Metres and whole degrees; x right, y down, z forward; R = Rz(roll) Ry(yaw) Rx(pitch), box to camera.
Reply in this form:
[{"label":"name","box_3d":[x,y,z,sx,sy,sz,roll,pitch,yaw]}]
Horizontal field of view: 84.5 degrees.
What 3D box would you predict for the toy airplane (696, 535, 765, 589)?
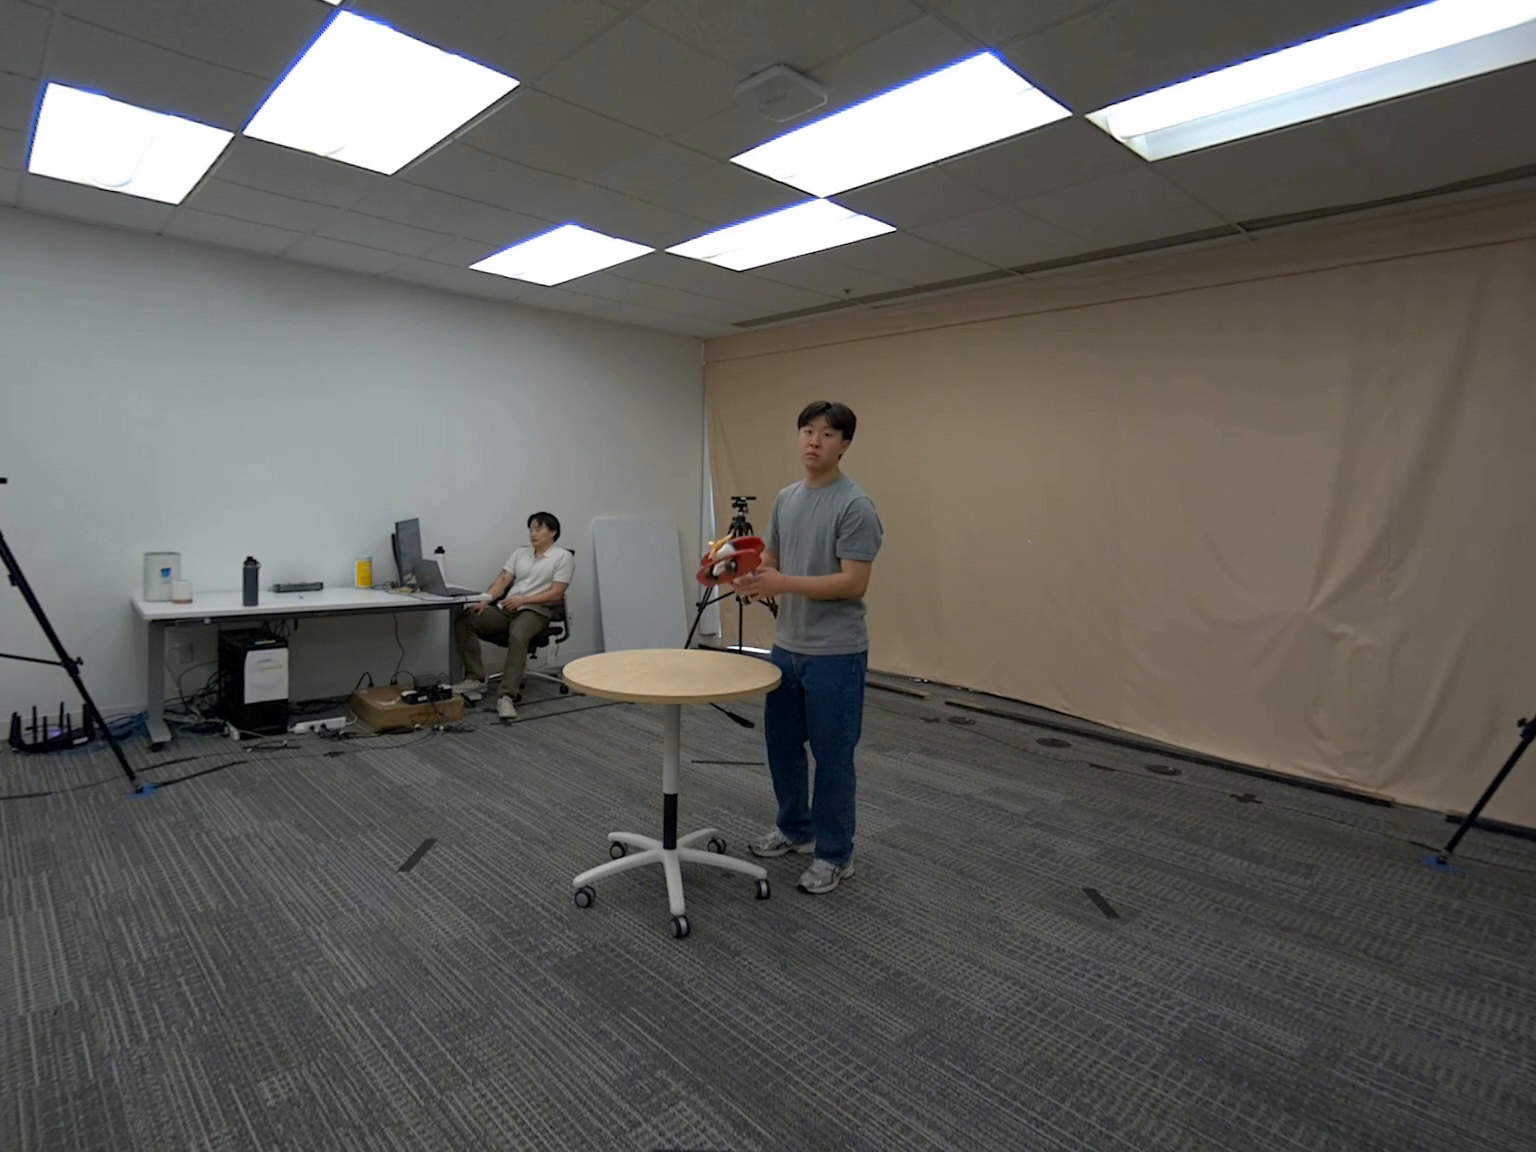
[{"label":"toy airplane","box_3d":[-0.124,-0.002,2.941,0.252,0.159,0.252,-3,-35,7]}]
